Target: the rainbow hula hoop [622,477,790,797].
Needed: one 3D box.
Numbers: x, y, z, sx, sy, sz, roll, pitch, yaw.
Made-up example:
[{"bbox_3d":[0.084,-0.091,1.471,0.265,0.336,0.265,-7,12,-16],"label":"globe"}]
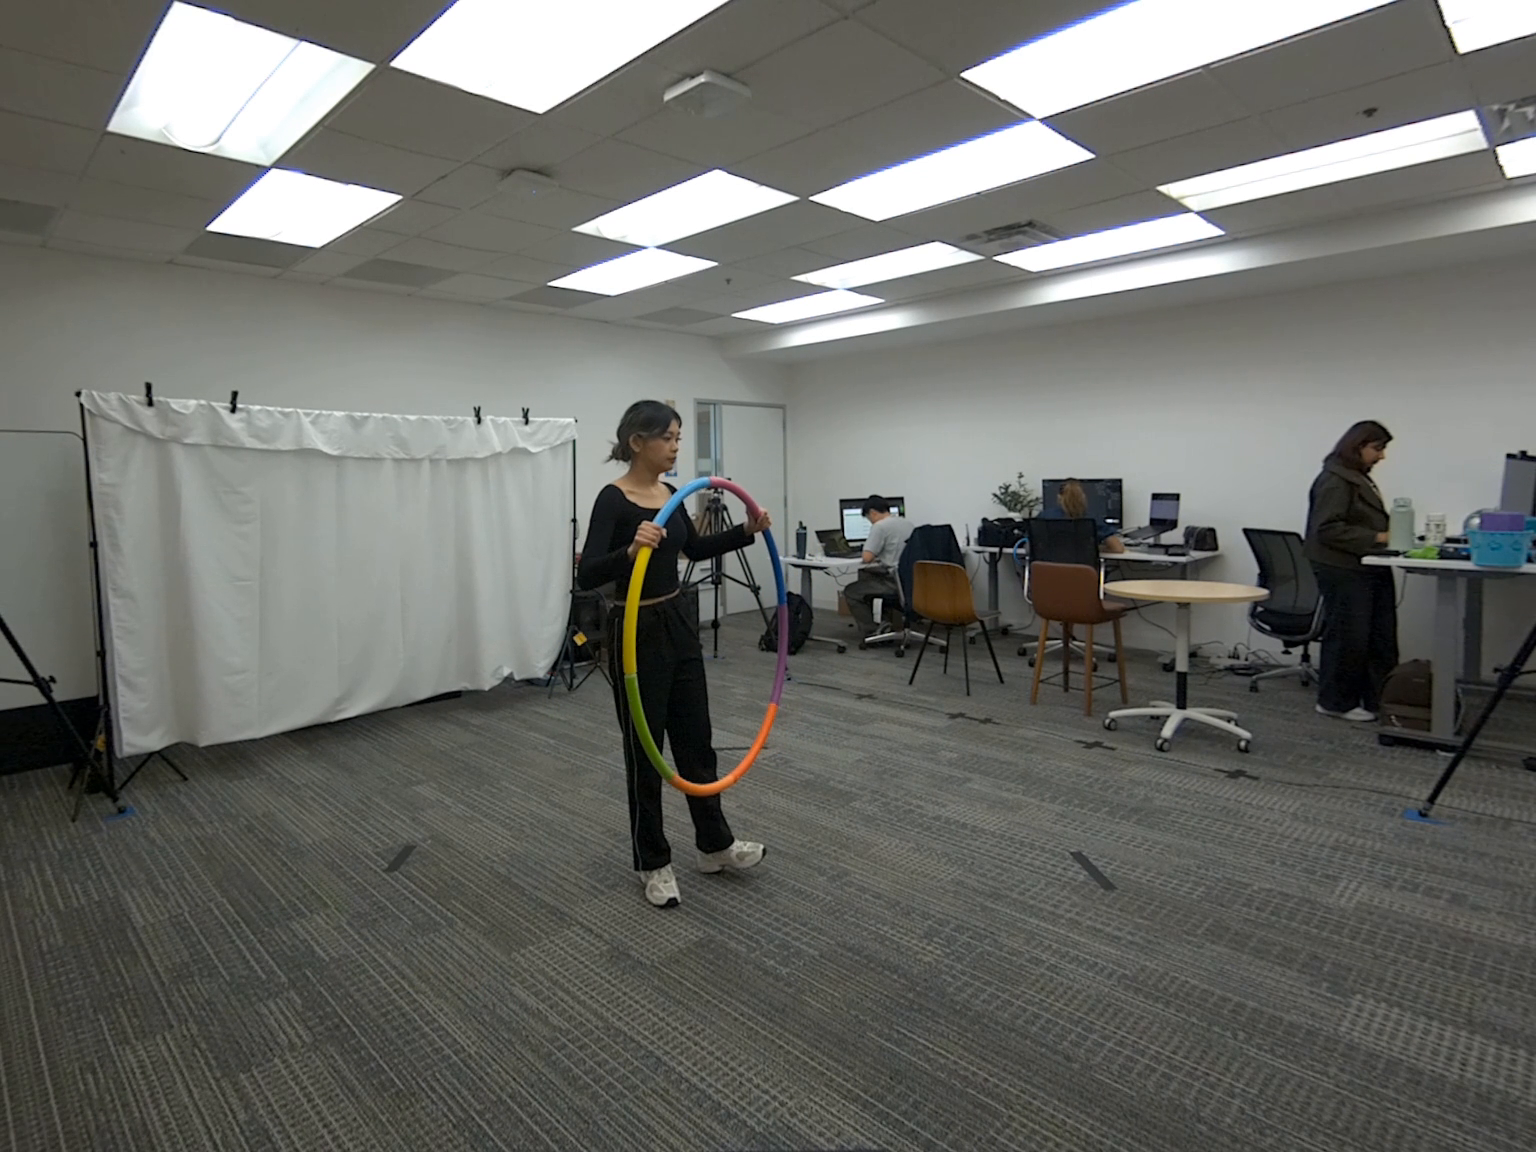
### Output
[{"bbox_3d":[-0.158,0.180,2.725,0.036,0.976,0.957,0,4,29],"label":"rainbow hula hoop"}]
